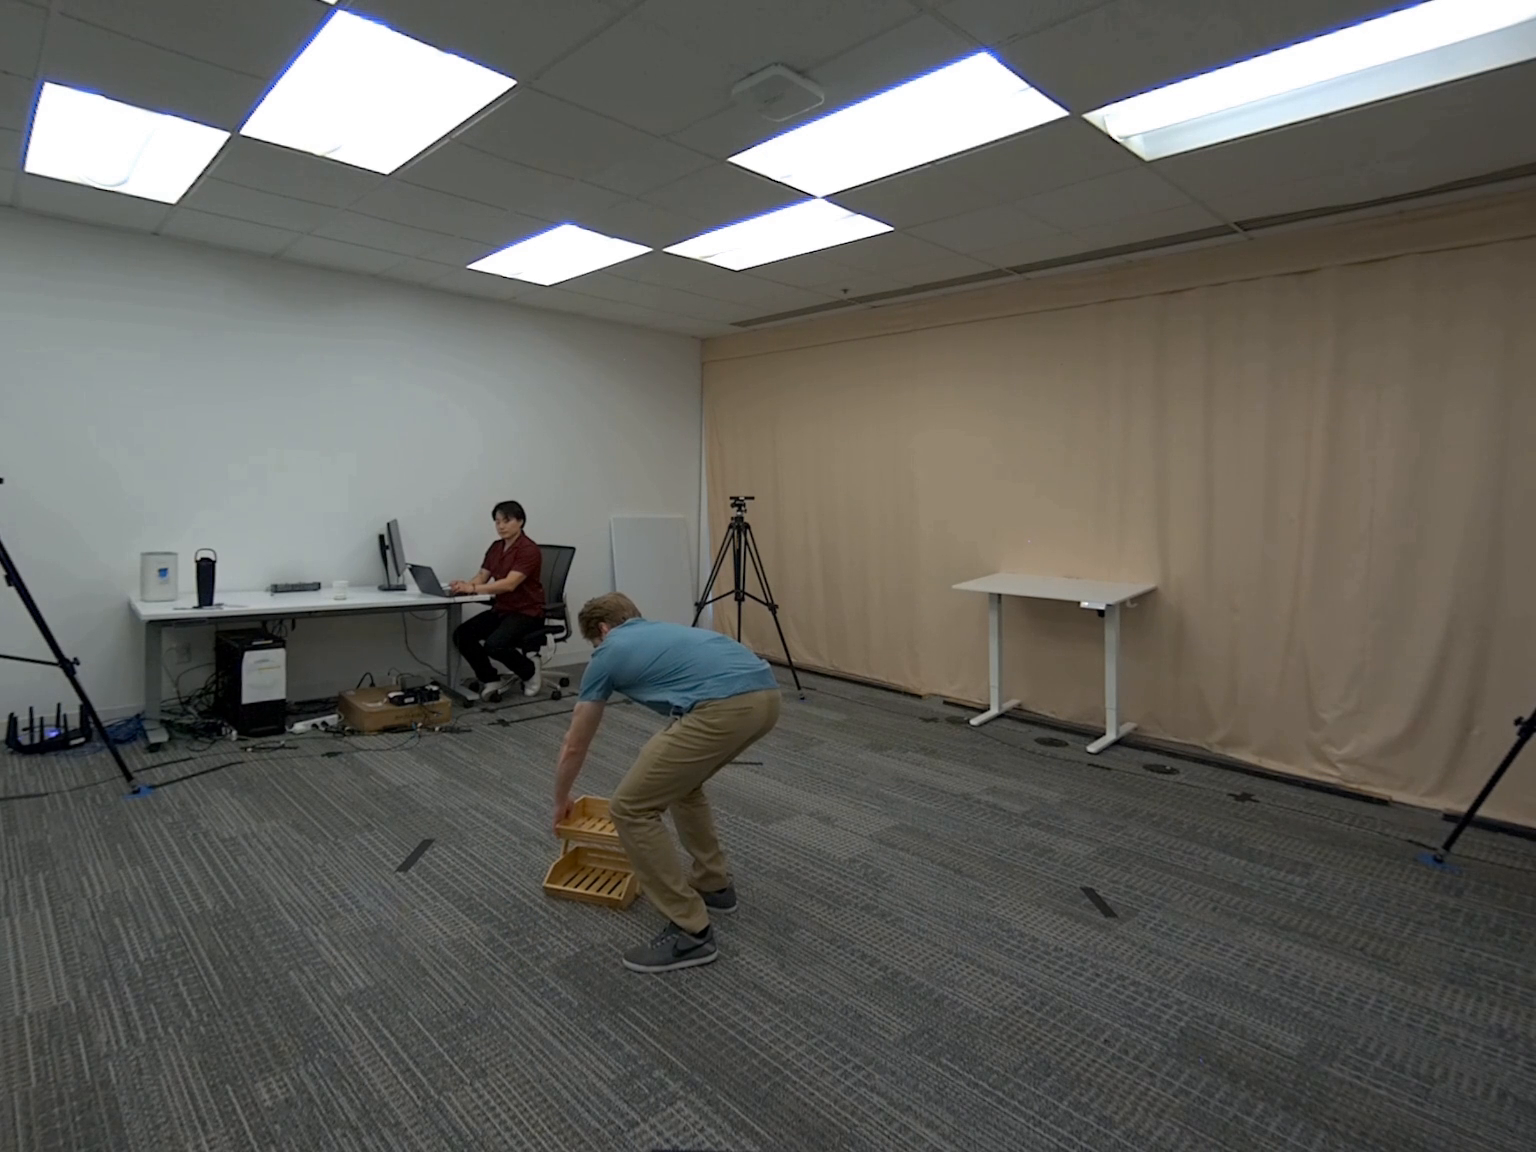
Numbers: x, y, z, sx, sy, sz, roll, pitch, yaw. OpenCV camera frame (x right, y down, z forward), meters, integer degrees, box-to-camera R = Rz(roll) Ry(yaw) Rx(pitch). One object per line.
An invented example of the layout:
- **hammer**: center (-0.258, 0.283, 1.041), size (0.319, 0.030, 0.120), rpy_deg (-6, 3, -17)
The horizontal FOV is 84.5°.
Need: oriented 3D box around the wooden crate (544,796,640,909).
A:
- **wooden crate**: center (-0.599, 0.975, 2.979), size (0.329, 0.272, 0.299), rpy_deg (3, 4, 16)
